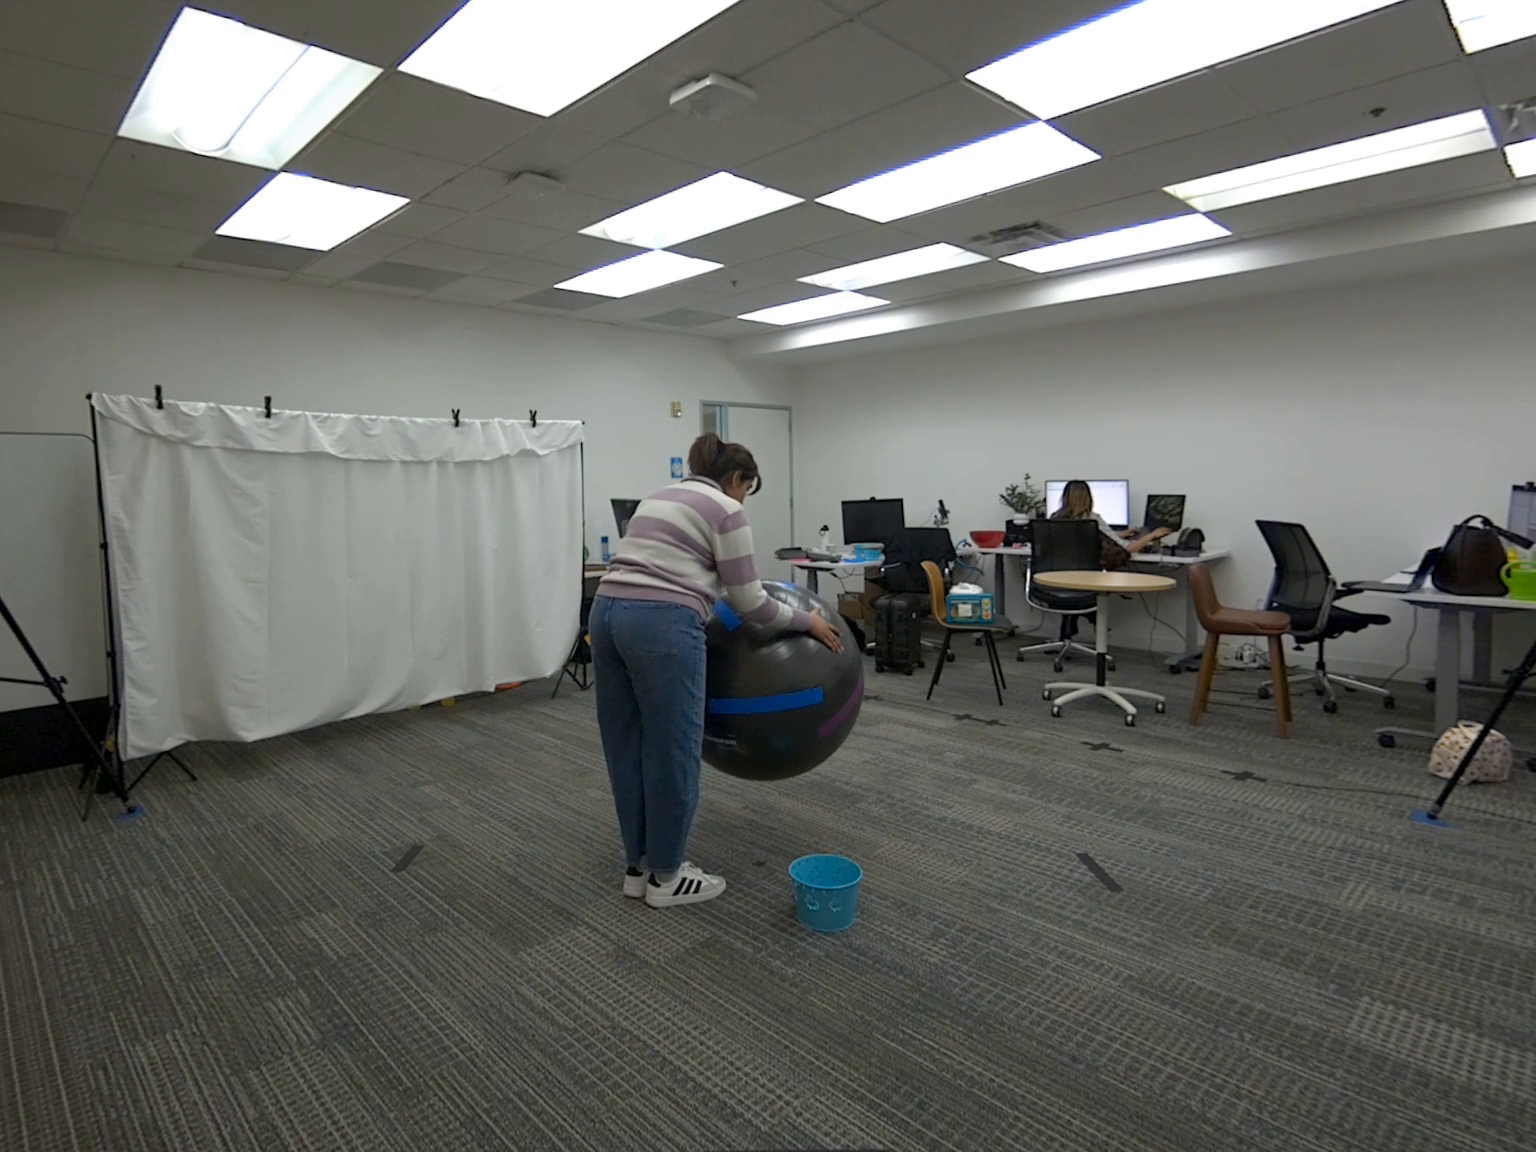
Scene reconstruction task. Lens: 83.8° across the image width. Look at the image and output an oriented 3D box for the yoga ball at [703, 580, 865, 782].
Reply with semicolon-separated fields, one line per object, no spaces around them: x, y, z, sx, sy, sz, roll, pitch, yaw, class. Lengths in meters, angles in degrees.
-0.011;0.402;3.261;0.757;0.755;0.762;-1;5;-2;yoga ball
